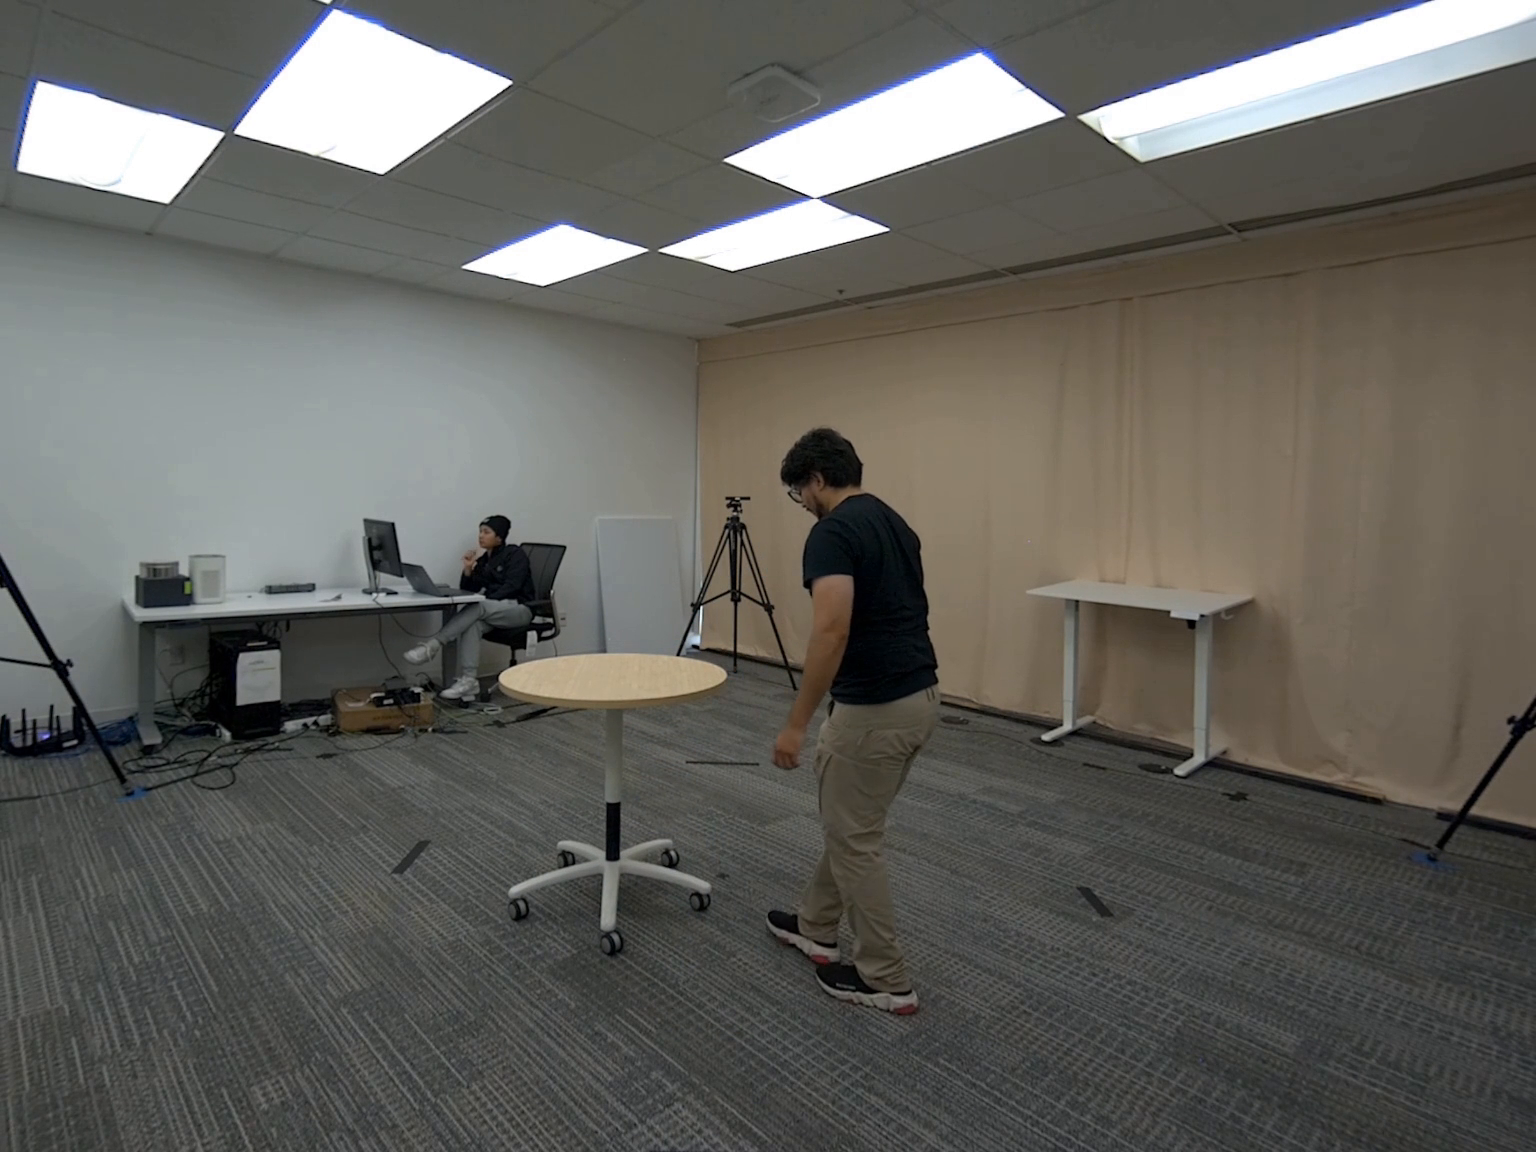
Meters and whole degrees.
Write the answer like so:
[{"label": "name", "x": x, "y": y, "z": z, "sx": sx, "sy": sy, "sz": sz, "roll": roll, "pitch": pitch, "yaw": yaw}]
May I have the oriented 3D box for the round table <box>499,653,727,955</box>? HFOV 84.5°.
[{"label": "round table", "x": -0.520, "y": 0.724, "z": 2.886, "sx": 0.784, "sy": 0.784, "sz": 0.787, "roll": 1, "pitch": 4, "yaw": -1}]
